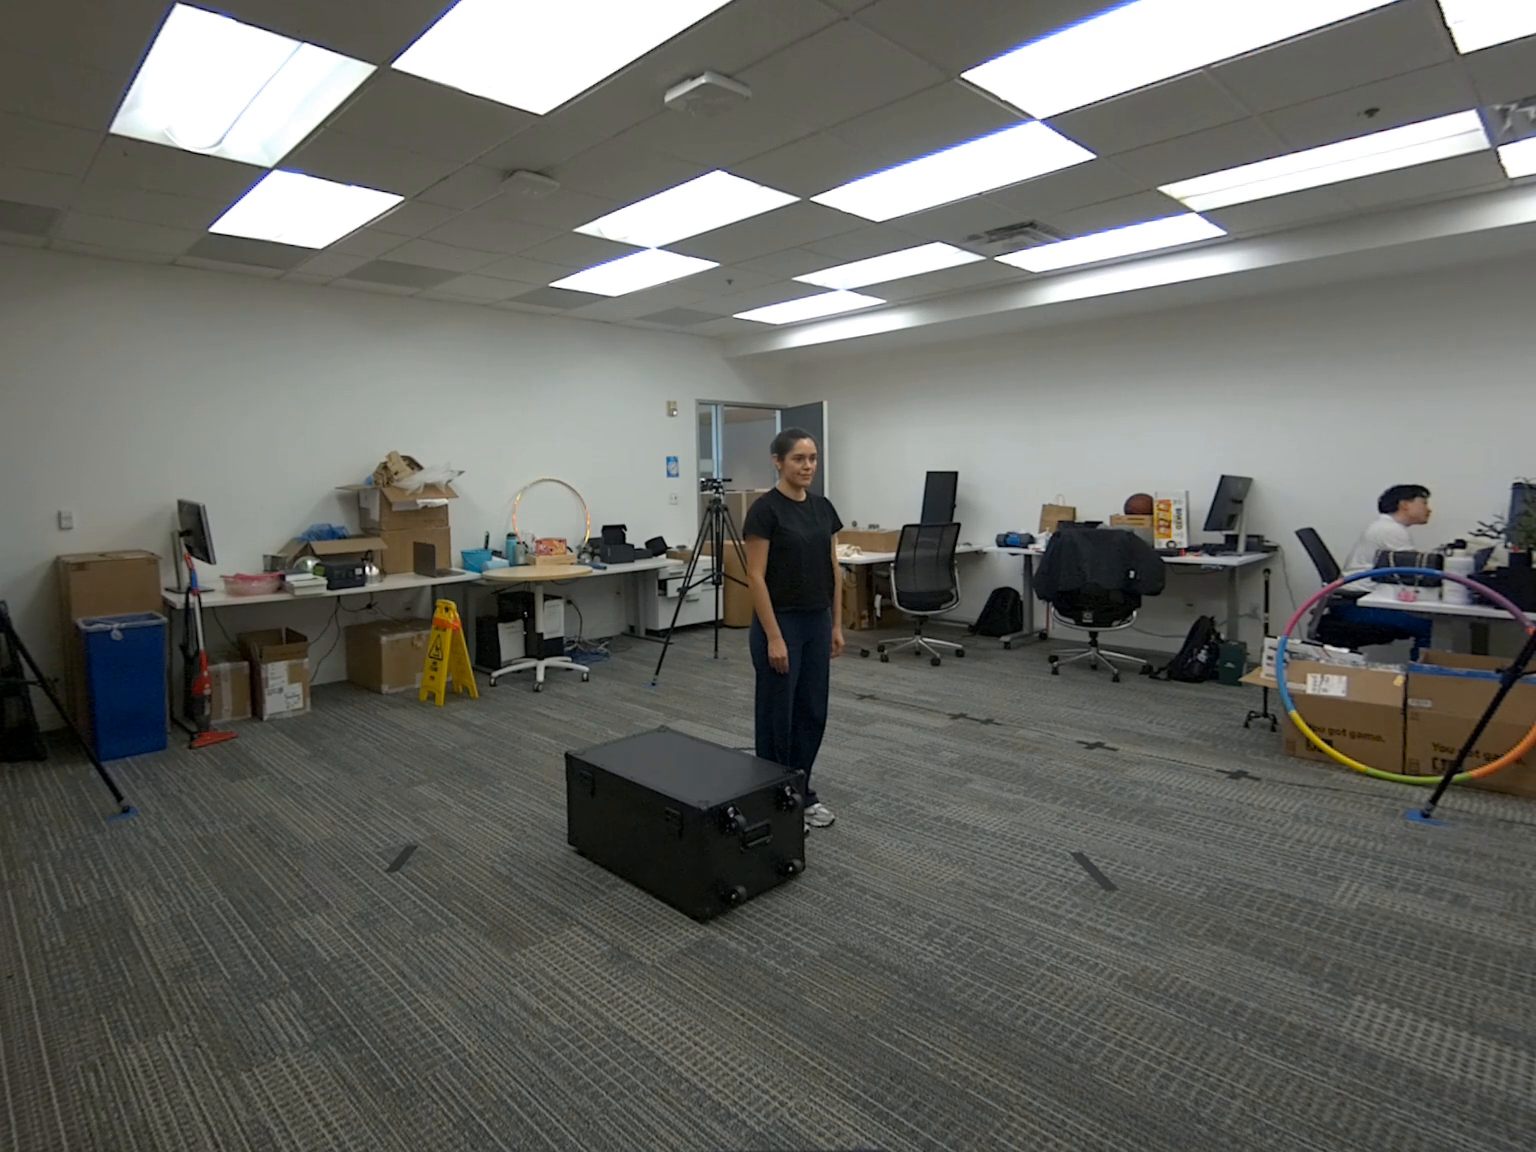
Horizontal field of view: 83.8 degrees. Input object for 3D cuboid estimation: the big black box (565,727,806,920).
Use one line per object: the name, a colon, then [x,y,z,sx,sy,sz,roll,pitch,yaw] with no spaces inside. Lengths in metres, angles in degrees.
big black box: [-0.297,0.861,3.091,0.888,0.395,0.507,4,7,45]
